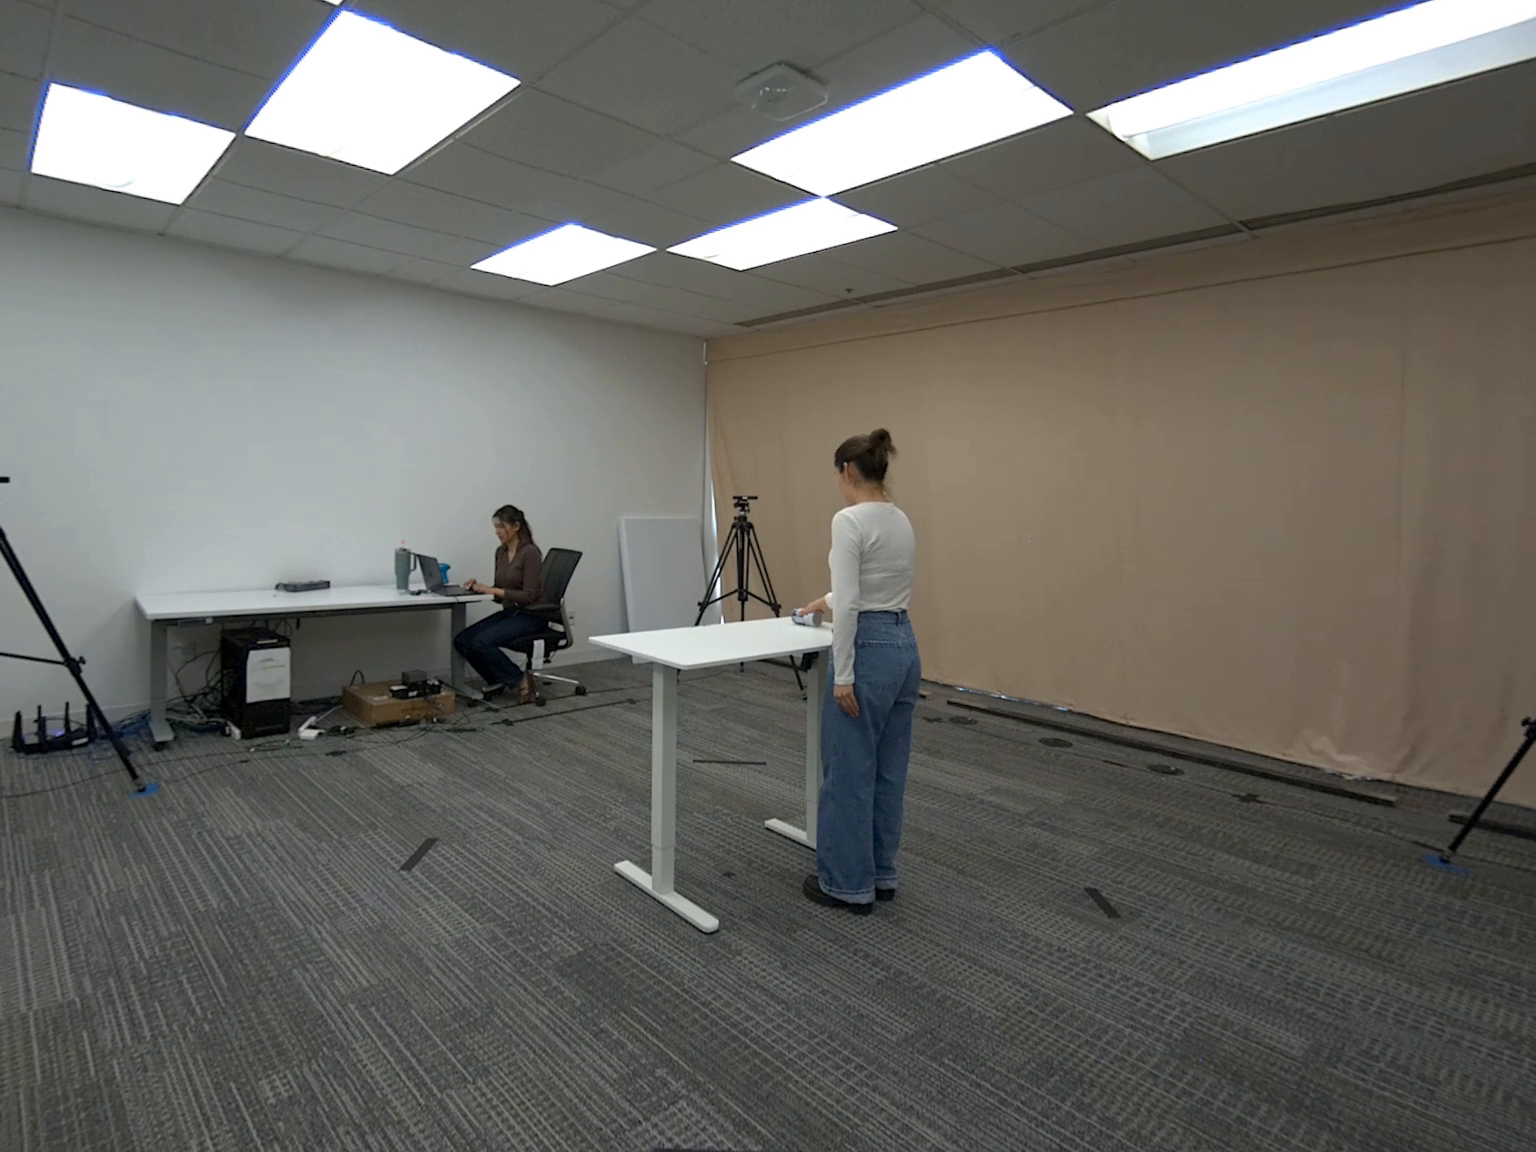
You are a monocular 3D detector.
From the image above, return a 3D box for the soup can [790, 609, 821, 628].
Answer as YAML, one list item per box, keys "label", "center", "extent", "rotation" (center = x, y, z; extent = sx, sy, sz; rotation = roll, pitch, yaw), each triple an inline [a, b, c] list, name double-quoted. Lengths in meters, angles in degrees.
- label: "soup can"
  center: [0.151, 0.153, 3.406]
  extent: [0.067, 0.122, 0.067]
  rotation: [24, -6, 1]
